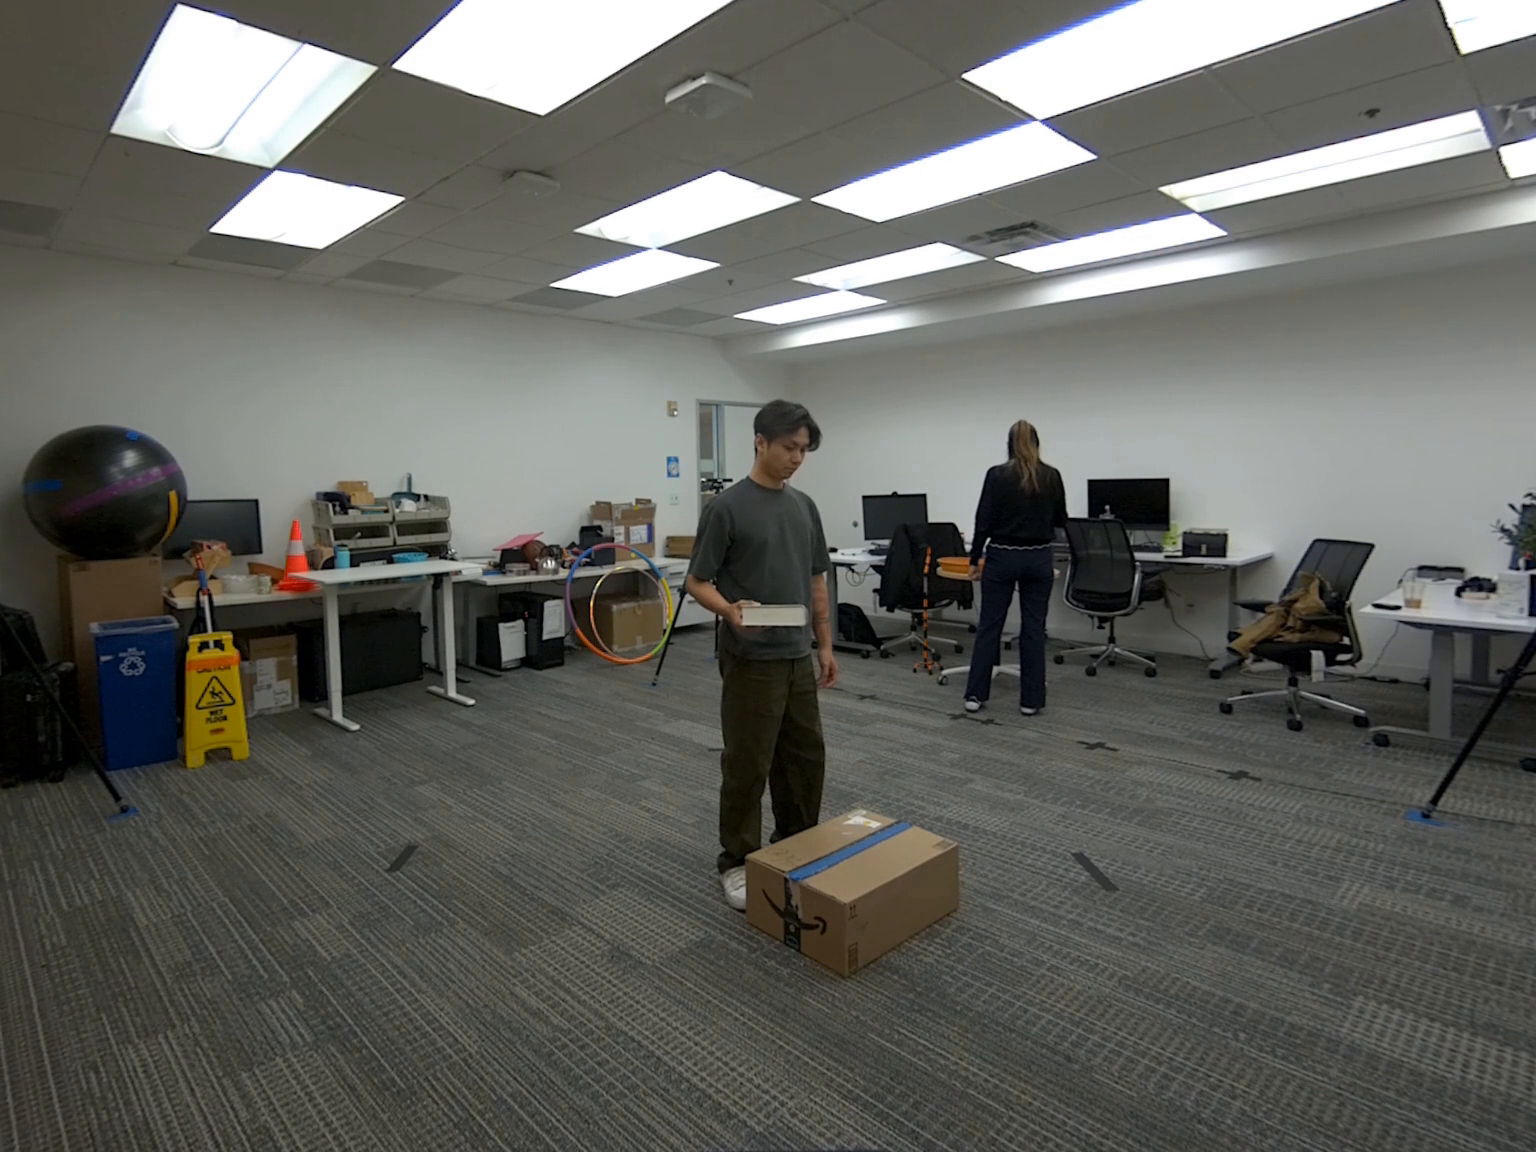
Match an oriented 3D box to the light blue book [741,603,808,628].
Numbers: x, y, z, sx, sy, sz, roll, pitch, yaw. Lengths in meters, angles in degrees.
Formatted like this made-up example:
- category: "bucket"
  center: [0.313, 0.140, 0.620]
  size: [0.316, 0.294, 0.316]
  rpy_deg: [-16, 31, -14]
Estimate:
- category: "light blue book"
  center: [0.022, 0.122, 2.597]
  size: [0.192, 0.059, 0.259]
  rpy_deg: [-1, -3, 1]
